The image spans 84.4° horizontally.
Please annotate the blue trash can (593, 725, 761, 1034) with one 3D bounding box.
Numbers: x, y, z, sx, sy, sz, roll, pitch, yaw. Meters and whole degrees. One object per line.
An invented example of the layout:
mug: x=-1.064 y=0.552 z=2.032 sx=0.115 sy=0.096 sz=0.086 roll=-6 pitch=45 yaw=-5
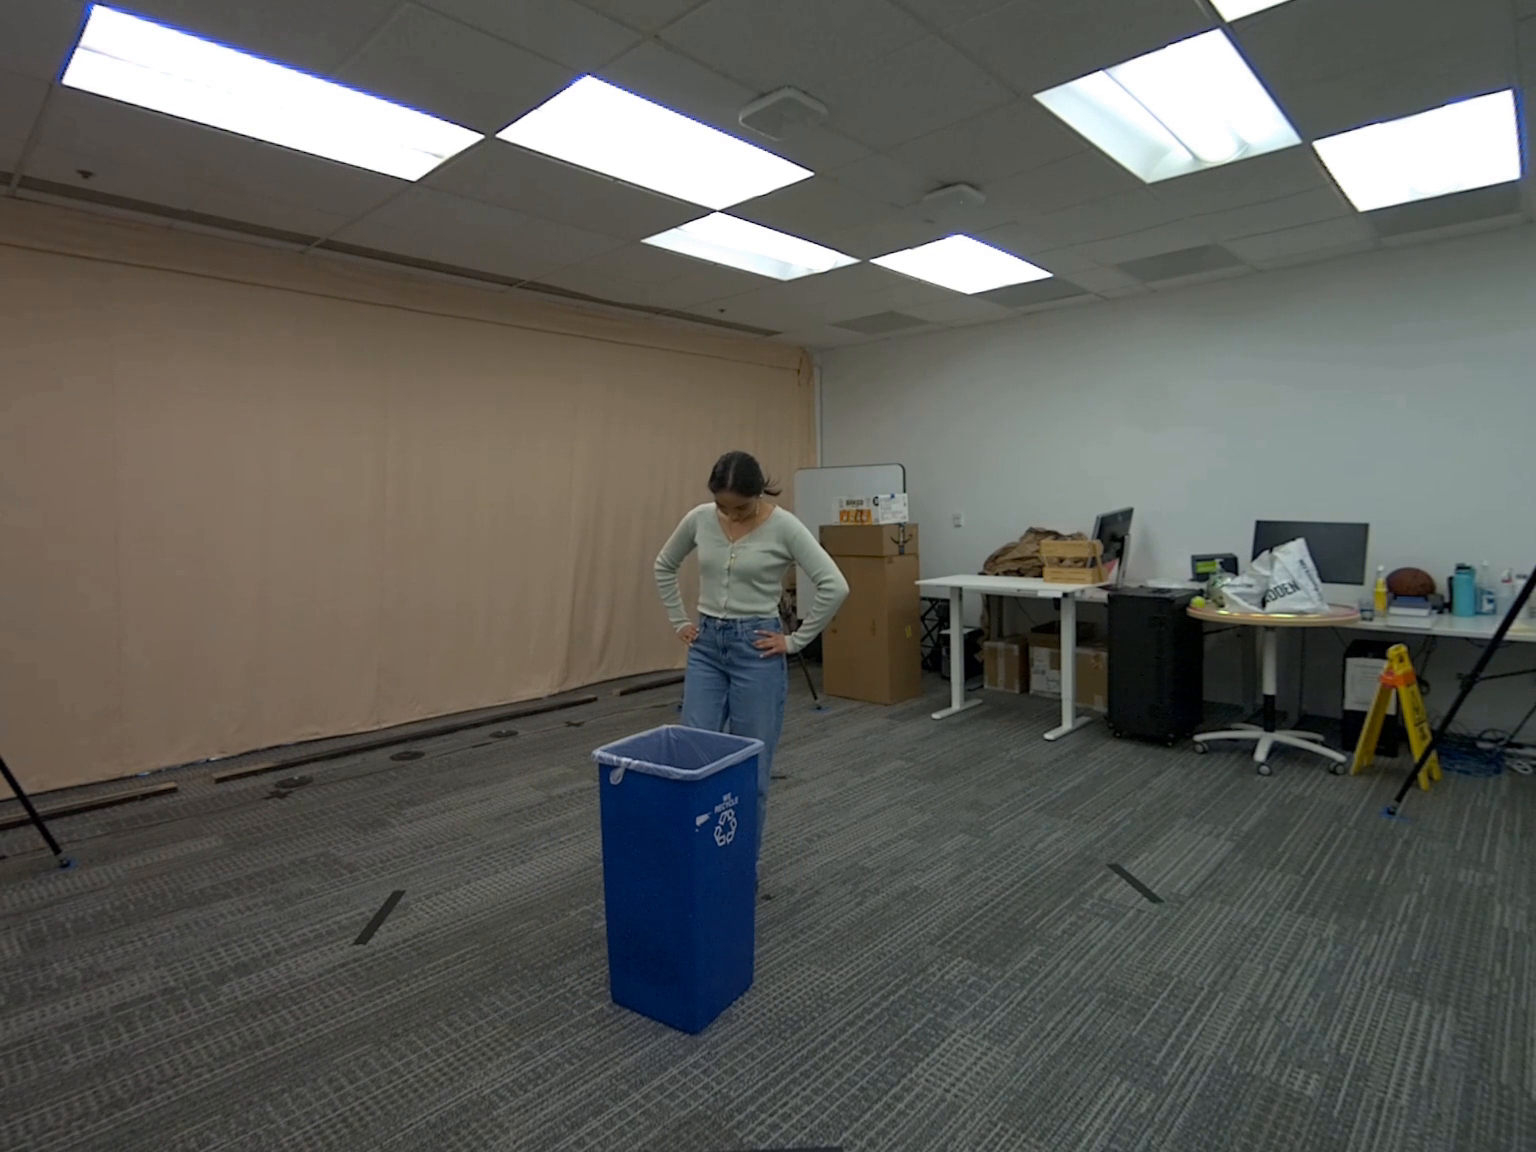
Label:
blue trash can: x=-0.241 y=0.840 z=2.391 sx=0.385 sy=0.712 sz=0.368 roll=1 pitch=4 yaw=33
